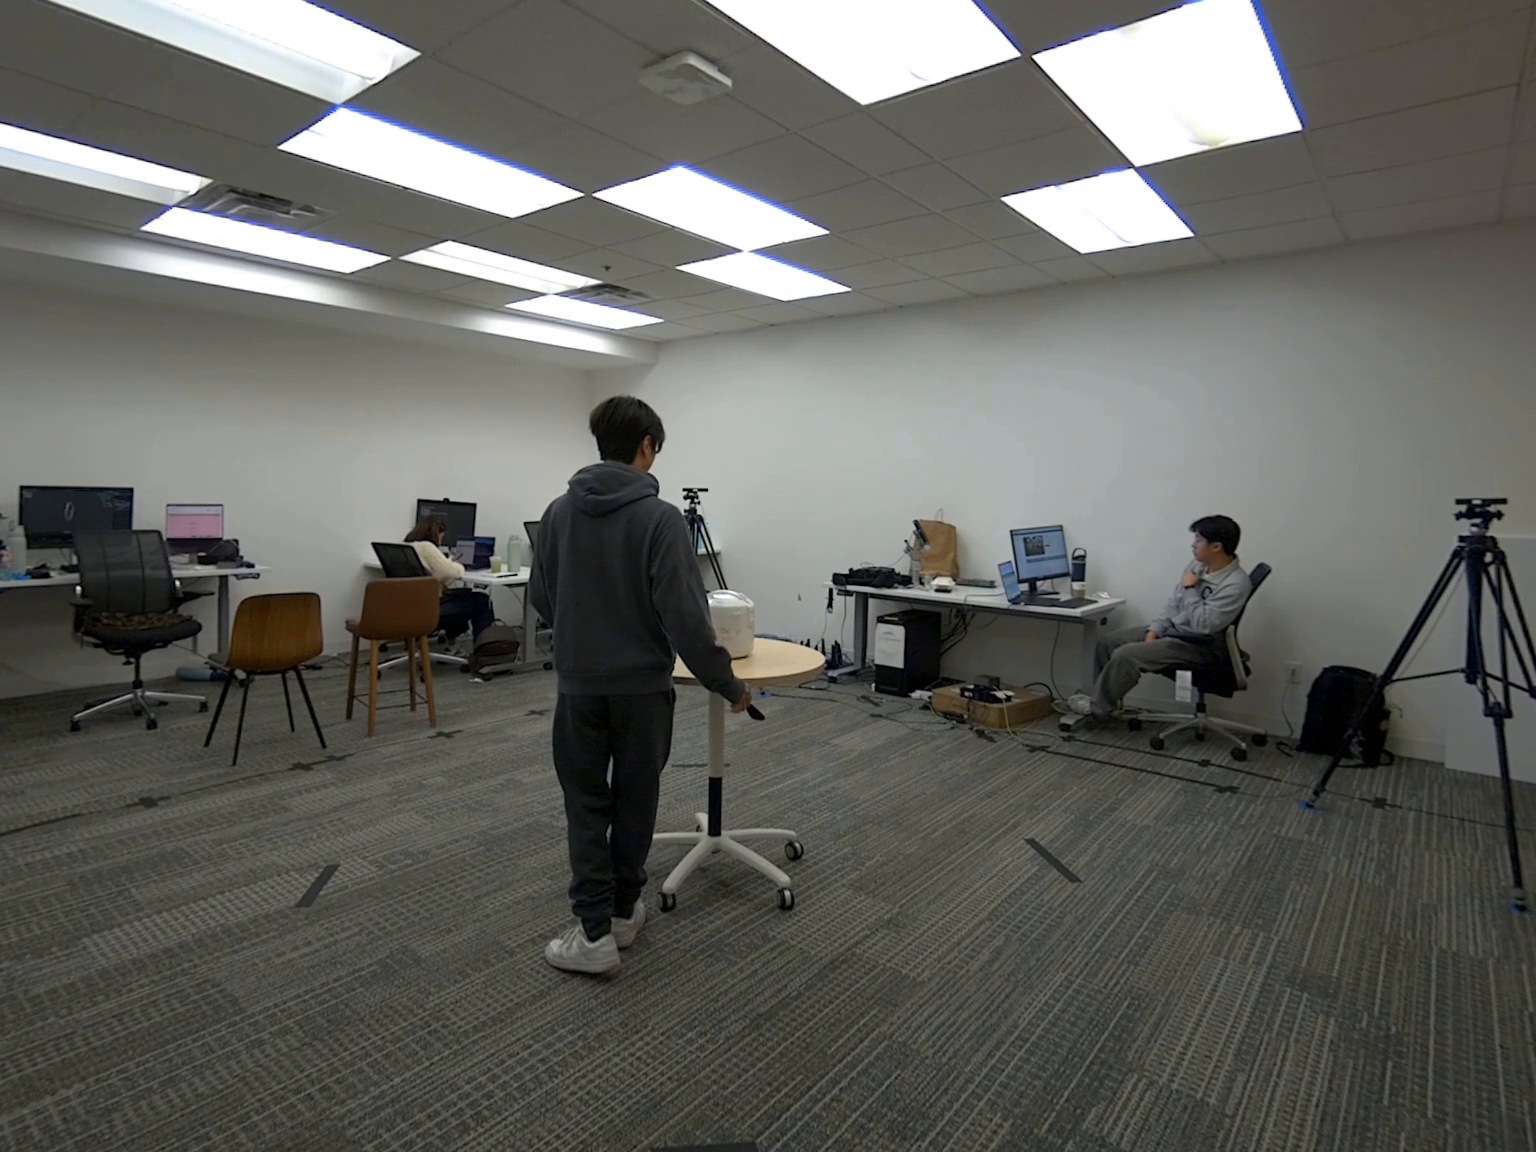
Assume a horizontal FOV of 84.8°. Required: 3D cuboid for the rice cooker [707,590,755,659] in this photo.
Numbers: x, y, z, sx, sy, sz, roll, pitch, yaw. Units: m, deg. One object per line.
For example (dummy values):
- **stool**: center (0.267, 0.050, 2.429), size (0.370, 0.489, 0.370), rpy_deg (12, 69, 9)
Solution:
- **rice cooker**: center (-0.161, 0.161, 3.043), size (0.227, 0.231, 0.212), rpy_deg (4, 7, 28)
